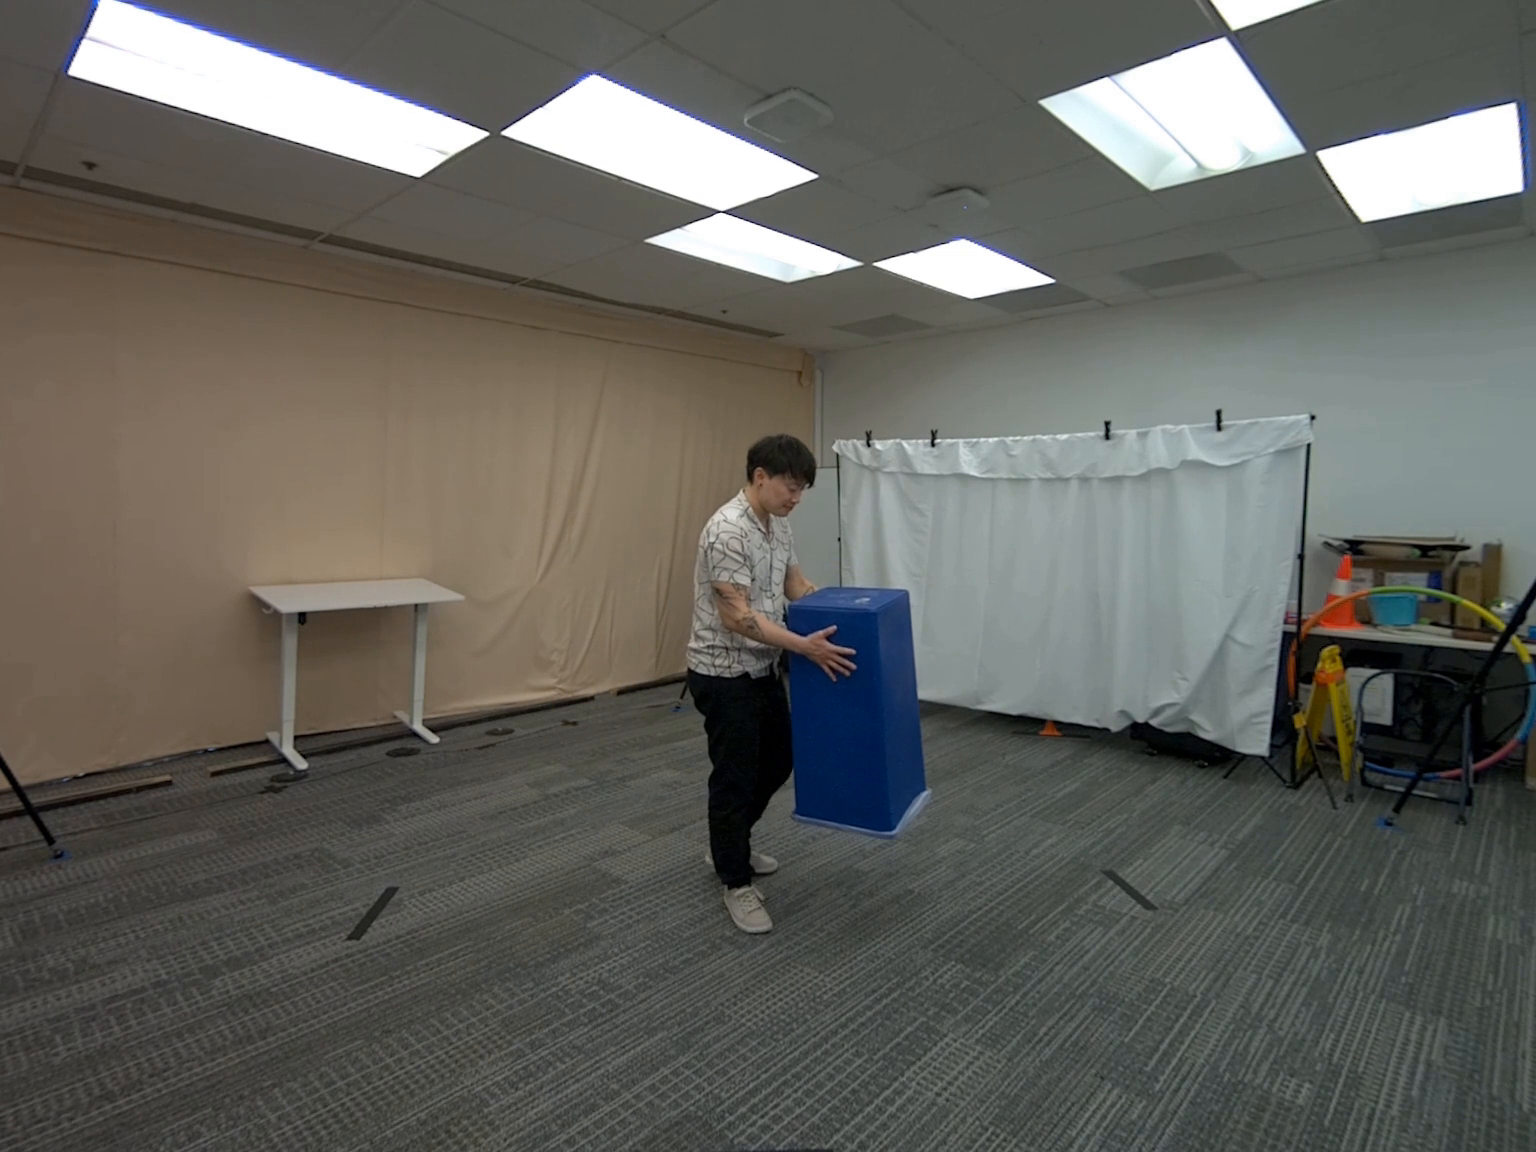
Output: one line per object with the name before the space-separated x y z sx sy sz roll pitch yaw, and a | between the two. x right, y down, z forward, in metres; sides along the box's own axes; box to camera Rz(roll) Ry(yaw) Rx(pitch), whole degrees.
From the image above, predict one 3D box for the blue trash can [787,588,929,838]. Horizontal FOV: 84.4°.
blue trash can | 0.301 0.420 2.749 0.389 0.709 0.365 1 9 32
